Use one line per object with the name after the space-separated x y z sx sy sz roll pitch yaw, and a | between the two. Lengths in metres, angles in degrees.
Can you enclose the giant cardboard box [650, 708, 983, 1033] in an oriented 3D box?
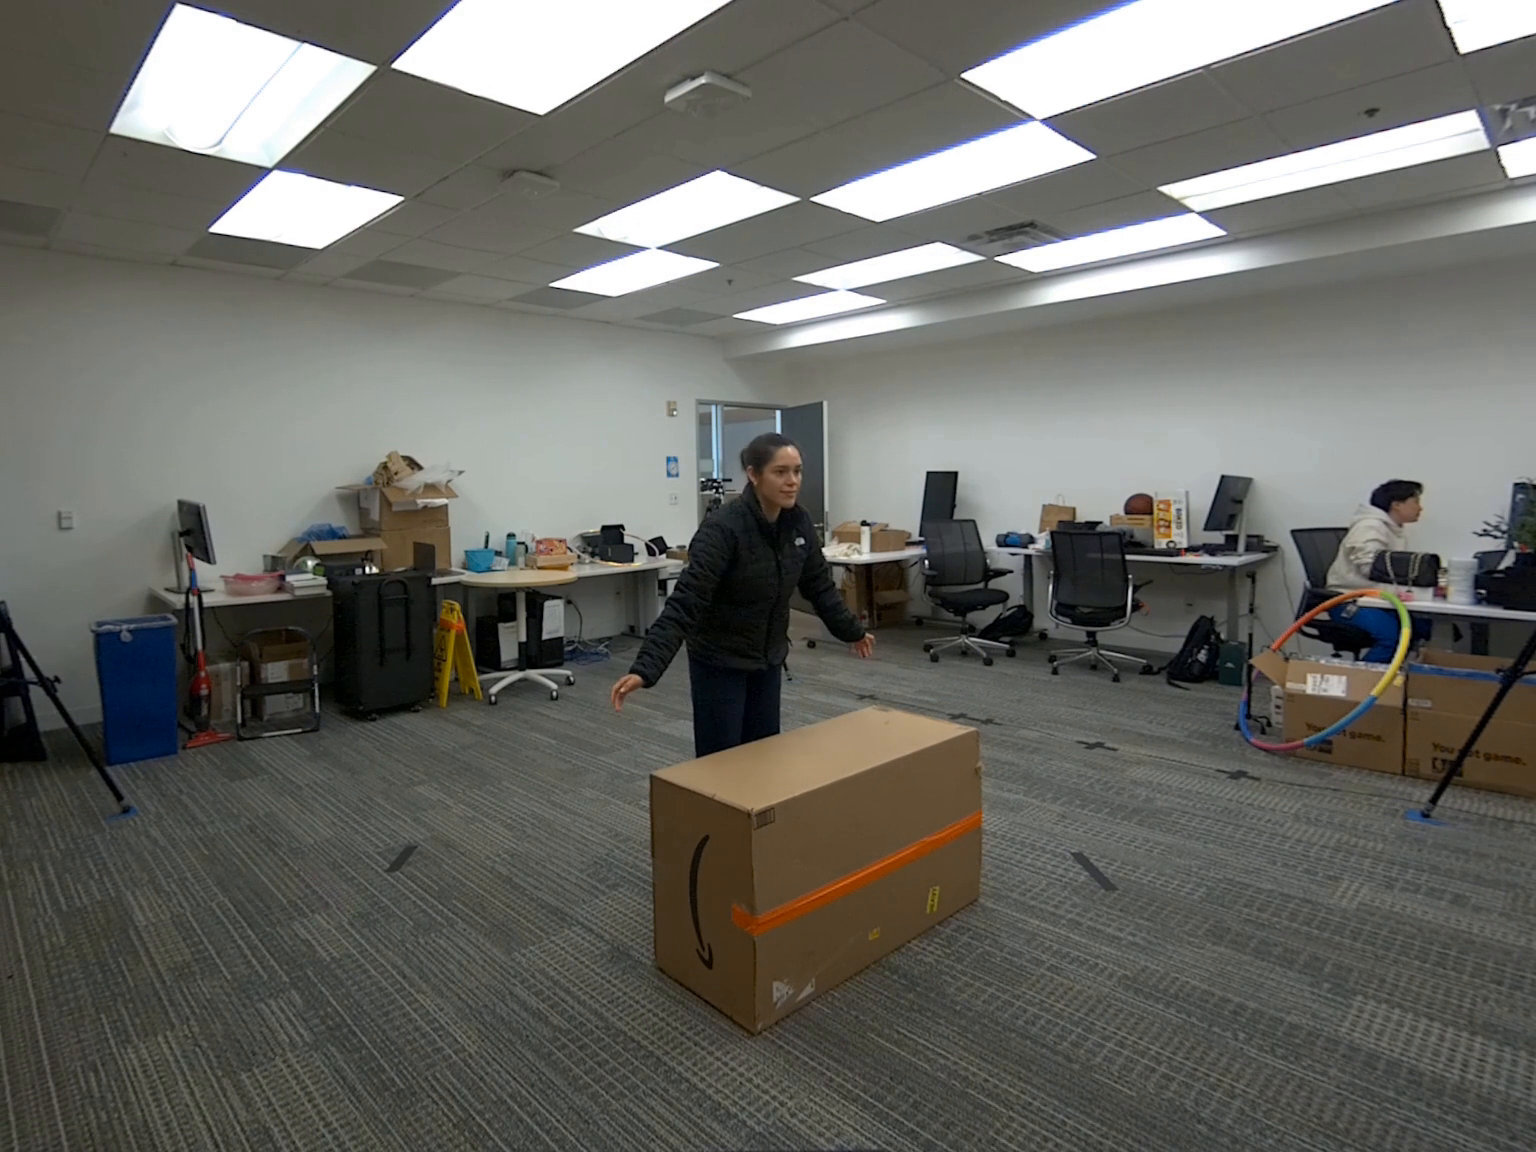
0.185 0.809 2.625 1.000 0.582 0.460 -7 6 -42 | giant cardboard box
